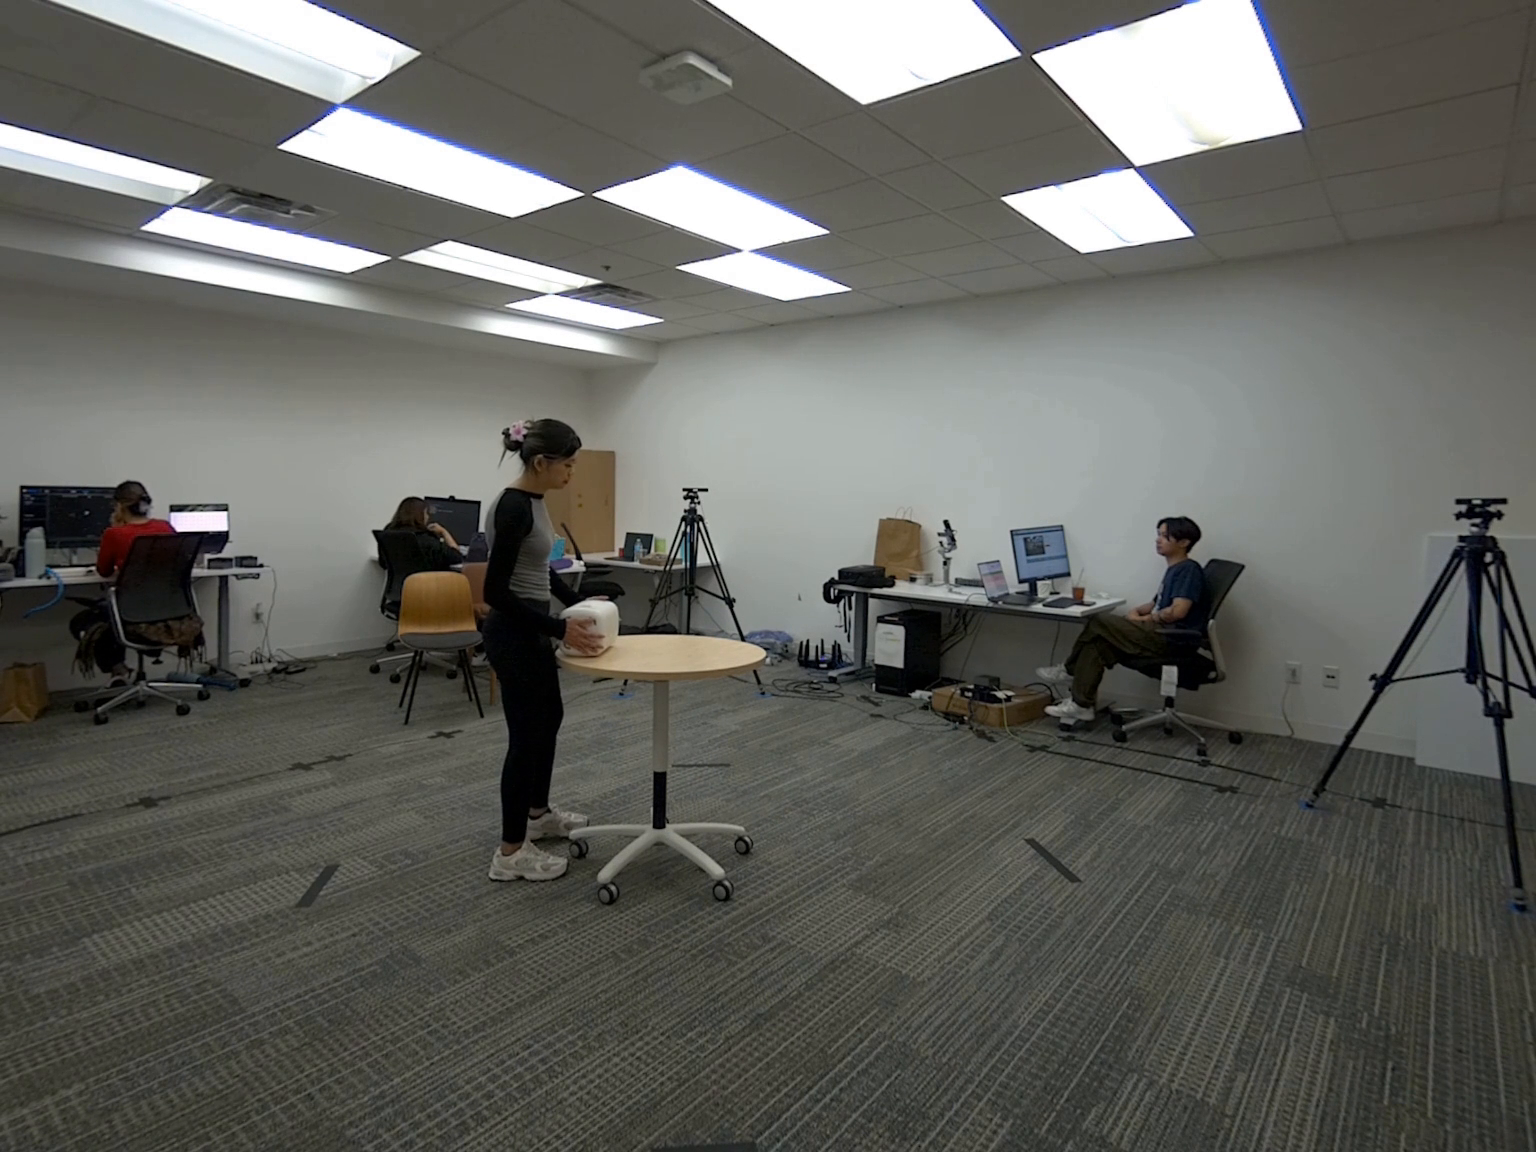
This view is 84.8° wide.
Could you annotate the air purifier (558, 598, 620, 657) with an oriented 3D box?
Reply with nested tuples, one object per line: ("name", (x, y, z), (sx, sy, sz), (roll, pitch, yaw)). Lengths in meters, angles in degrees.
("air purifier", (-0.663, 0.187, 3.089), (0.172, 0.171, 0.265), (3, 4, 3))
